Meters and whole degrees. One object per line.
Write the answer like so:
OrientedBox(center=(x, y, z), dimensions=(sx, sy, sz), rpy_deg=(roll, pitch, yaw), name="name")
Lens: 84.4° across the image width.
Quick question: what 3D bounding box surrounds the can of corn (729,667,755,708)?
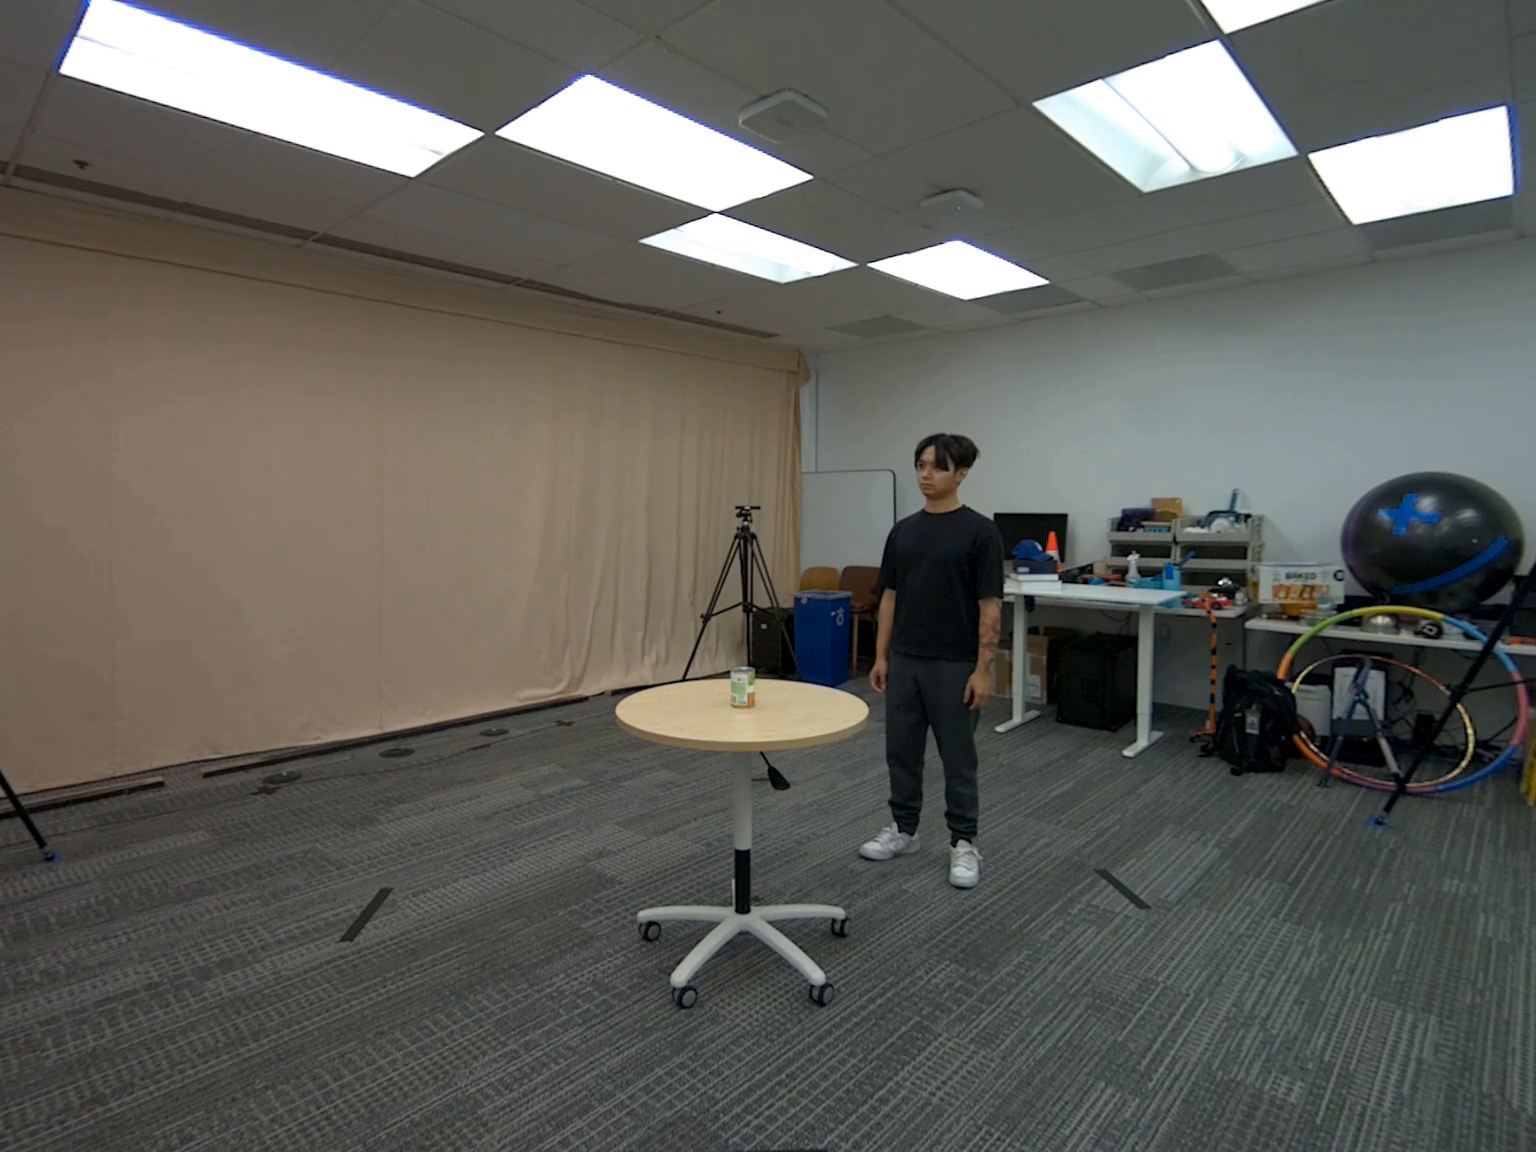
OrientedBox(center=(-0.071, 0.342, 2.563), dimensions=(0.074, 0.111, 0.074), rpy_deg=(-2, 5, -2), name="can of corn")
